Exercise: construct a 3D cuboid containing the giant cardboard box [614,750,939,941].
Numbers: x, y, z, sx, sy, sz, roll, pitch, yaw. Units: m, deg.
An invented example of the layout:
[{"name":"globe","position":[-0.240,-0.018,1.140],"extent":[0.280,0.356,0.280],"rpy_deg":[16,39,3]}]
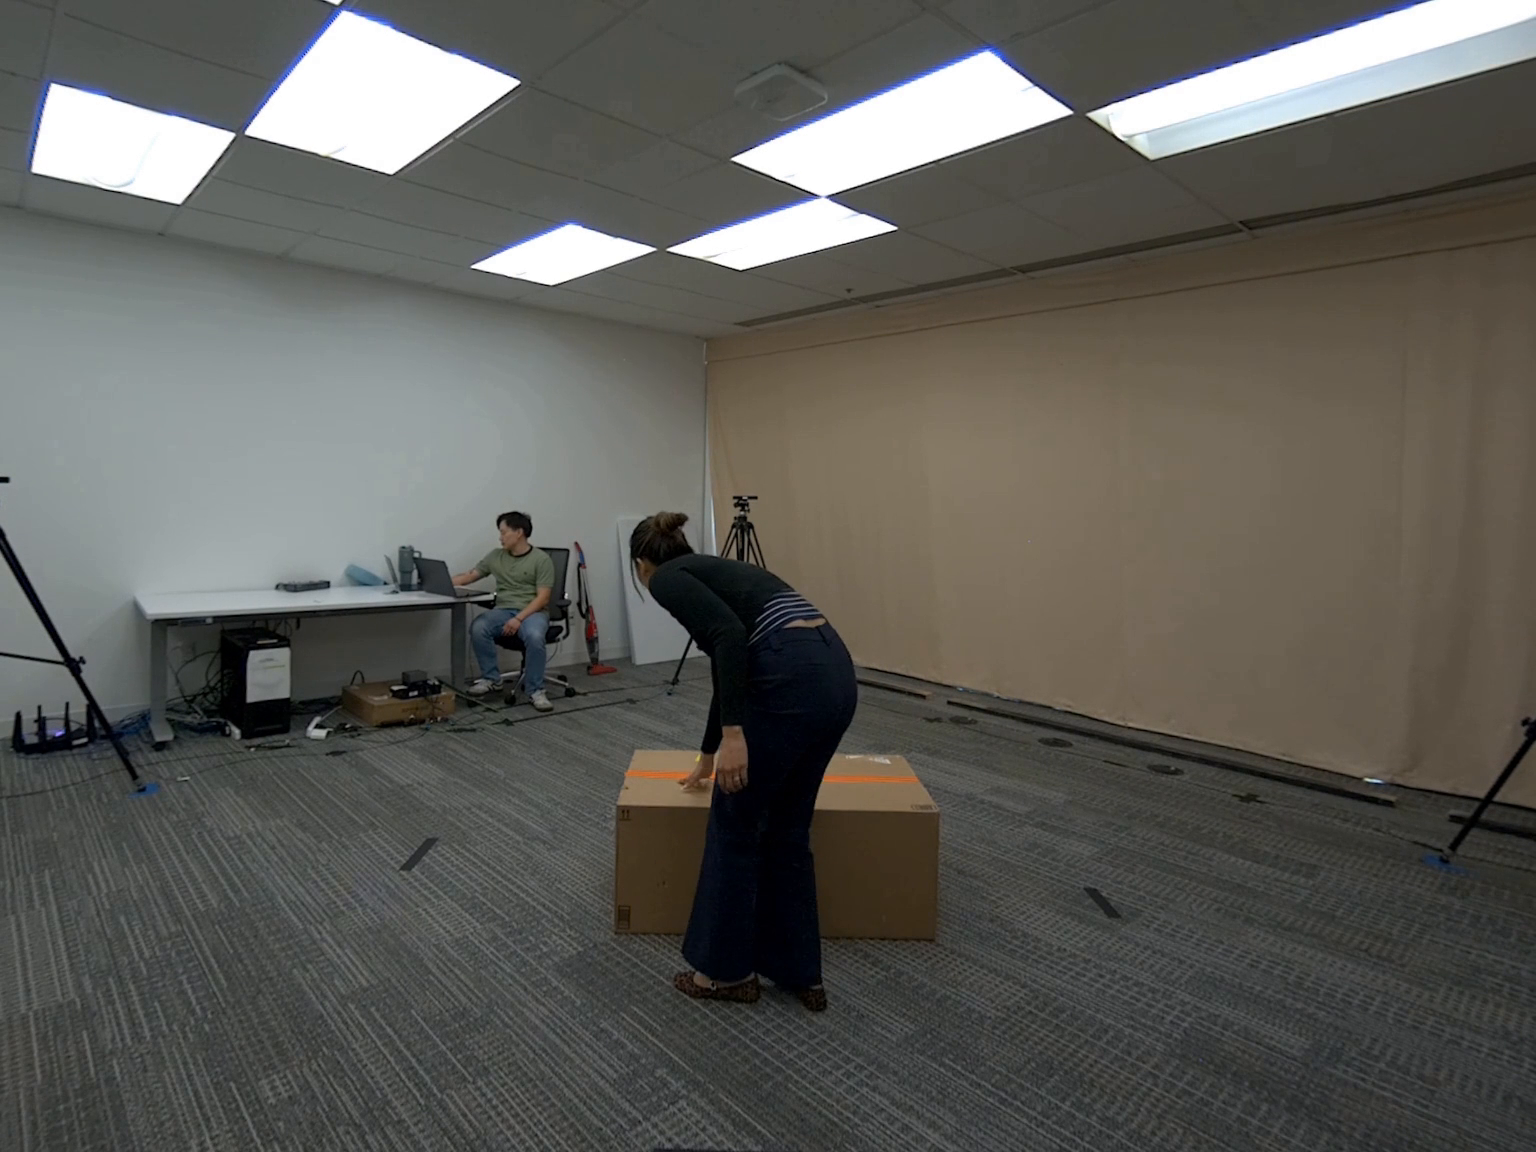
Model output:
[{"name":"giant cardboard box","position":[0.009,0.908,2.936],"extent":[1.025,0.425,0.579],"rpy_deg":[1,4,-1]}]
